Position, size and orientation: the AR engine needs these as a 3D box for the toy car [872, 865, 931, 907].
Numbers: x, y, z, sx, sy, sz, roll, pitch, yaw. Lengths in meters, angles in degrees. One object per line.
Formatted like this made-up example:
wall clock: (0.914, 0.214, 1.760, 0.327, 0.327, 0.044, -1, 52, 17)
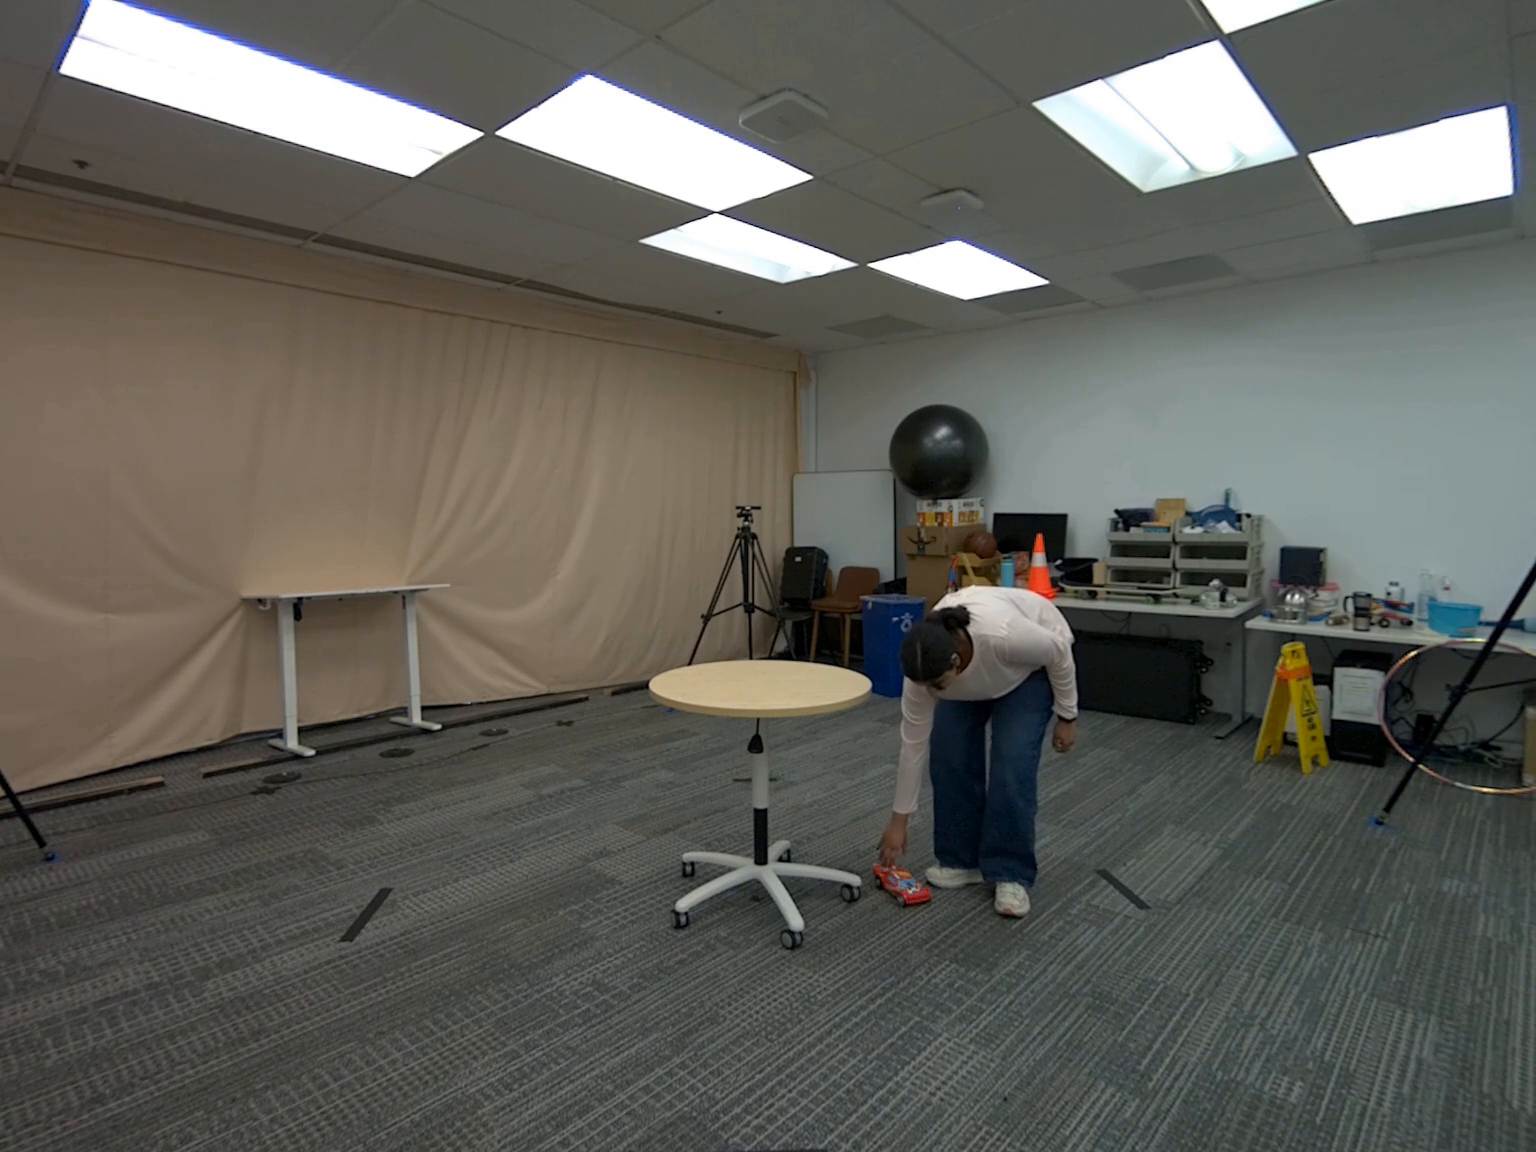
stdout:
toy car: (0.486, 1.115, 3.030, 0.127, 0.082, 0.262, -1, 14, -22)
